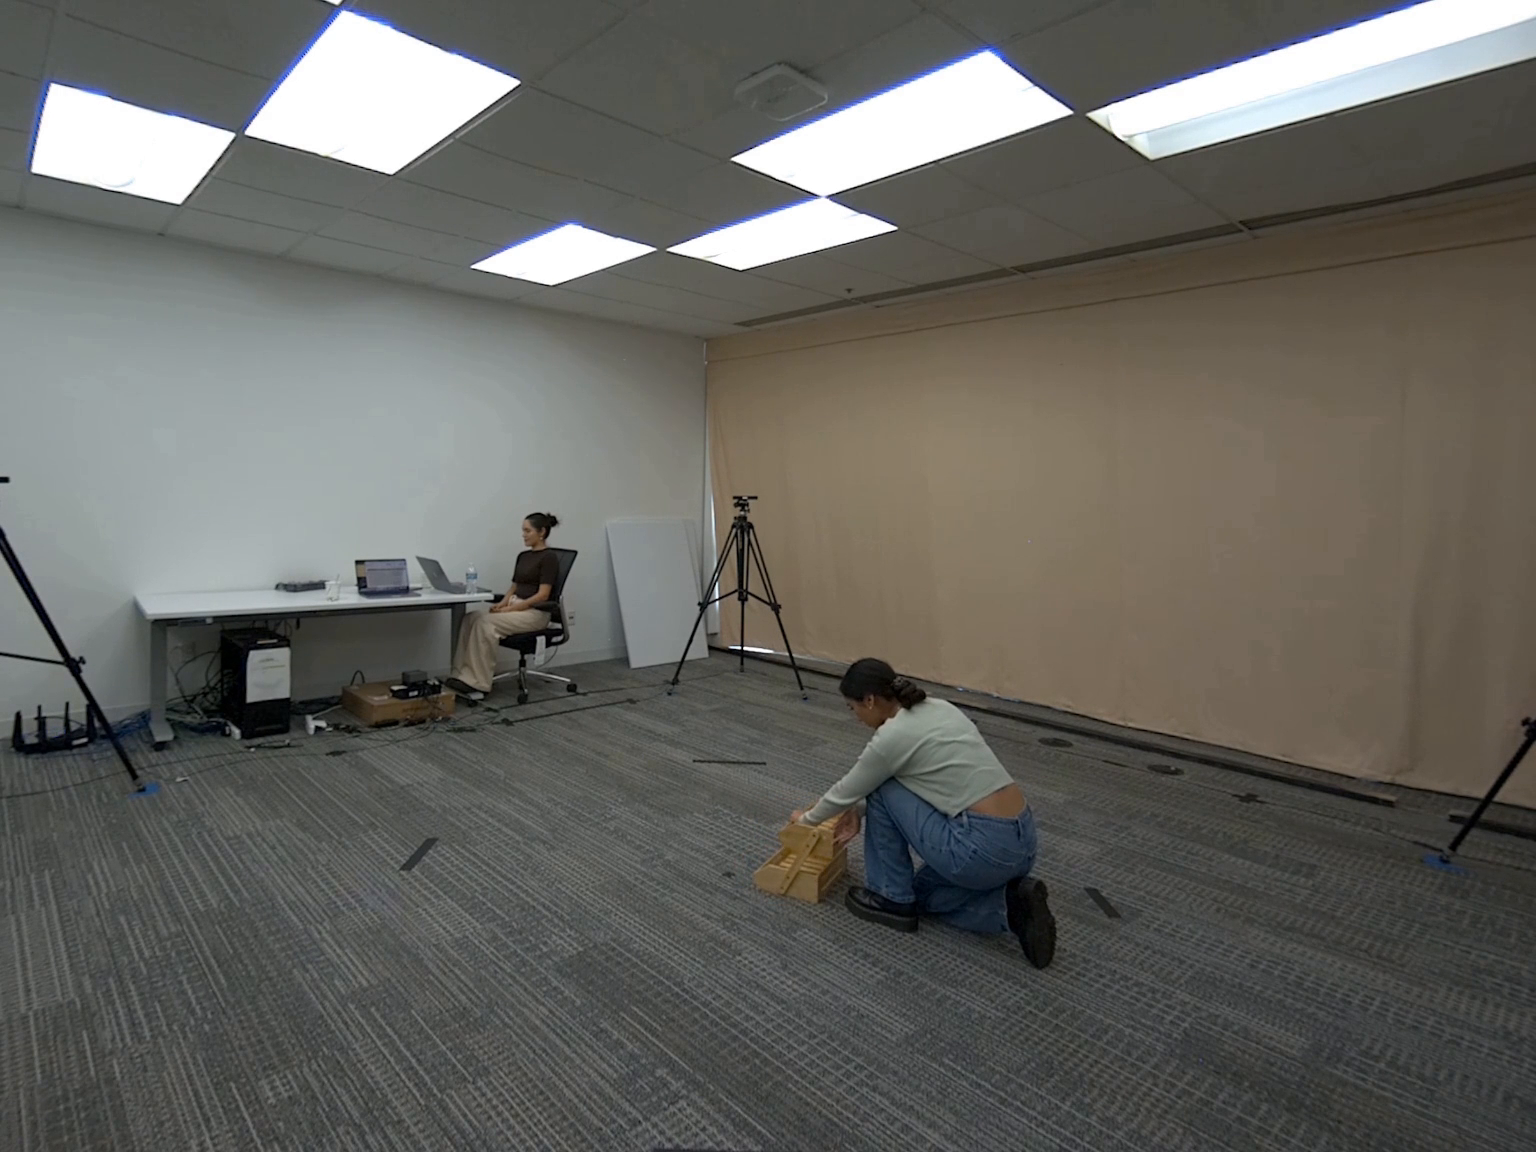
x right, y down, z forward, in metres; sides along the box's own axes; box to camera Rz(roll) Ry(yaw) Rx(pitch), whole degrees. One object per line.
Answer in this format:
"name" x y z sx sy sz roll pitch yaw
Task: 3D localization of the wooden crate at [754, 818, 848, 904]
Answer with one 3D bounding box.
"wooden crate" 0.137 0.975 3.069 0.308 0.272 0.319 4 5 26
